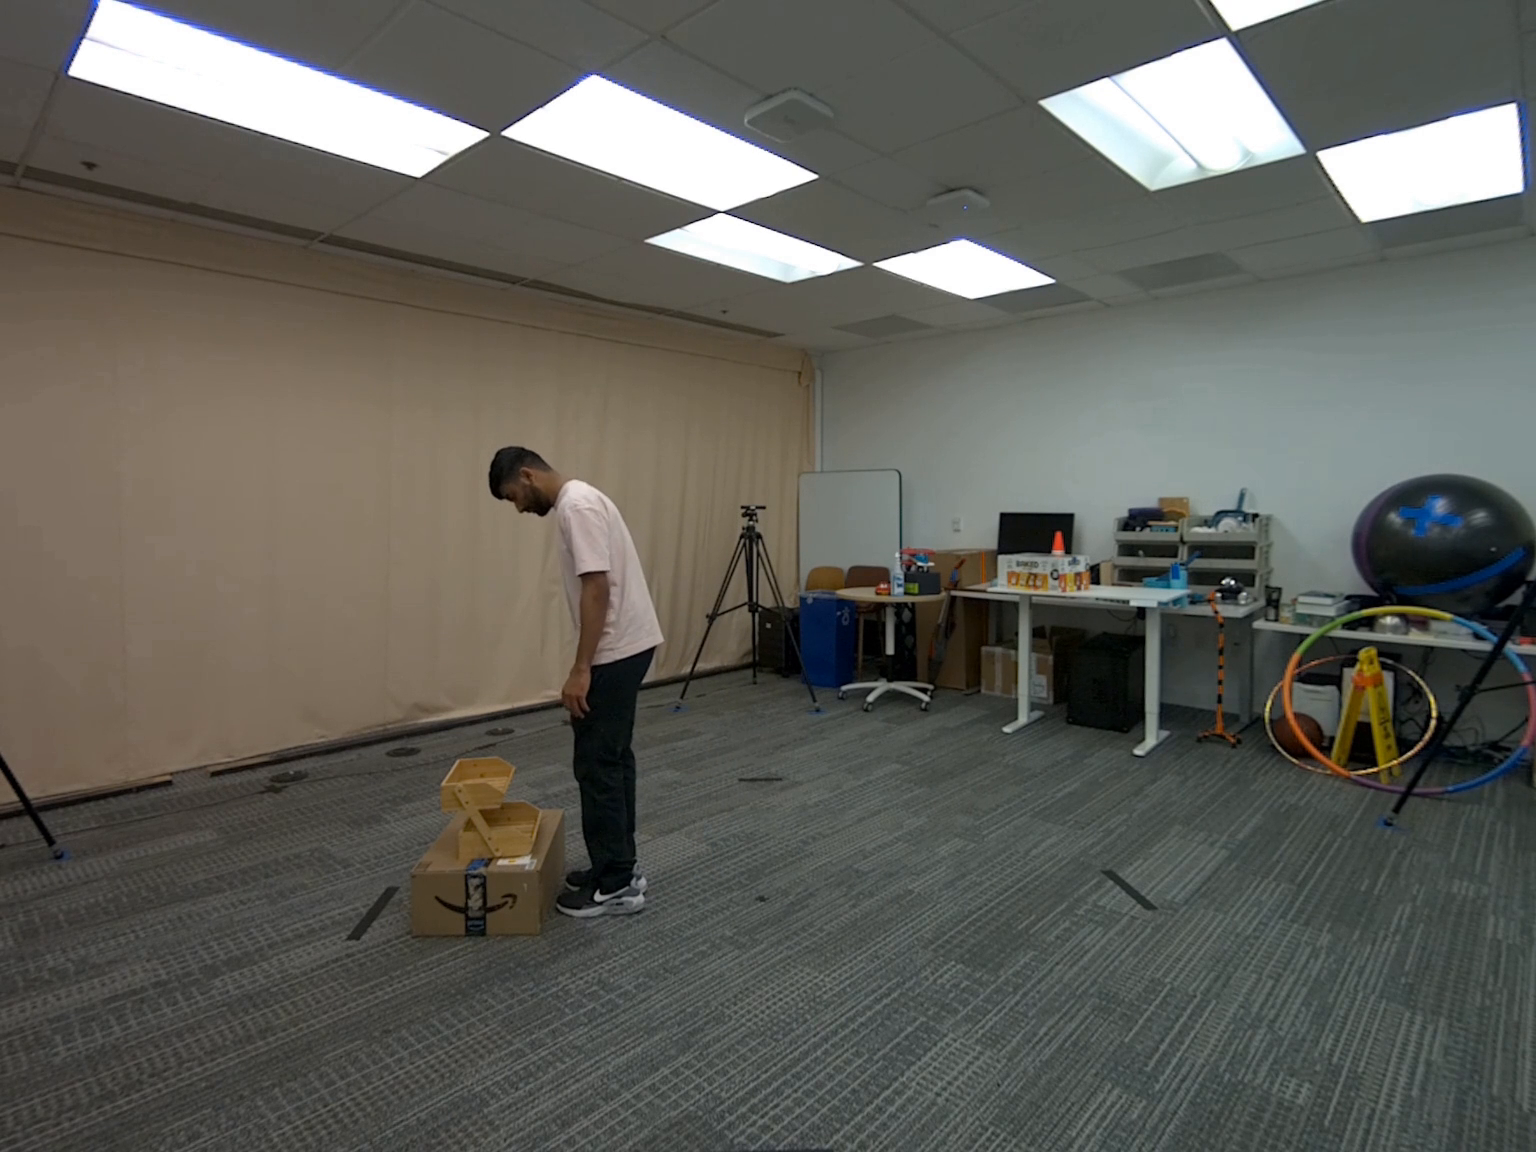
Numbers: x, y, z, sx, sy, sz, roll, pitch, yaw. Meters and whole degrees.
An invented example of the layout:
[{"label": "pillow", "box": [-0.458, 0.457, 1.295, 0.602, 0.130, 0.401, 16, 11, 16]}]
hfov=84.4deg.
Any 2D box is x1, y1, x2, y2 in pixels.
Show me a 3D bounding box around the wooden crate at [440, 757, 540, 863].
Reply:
[{"label": "wooden crate", "box": [-0.970, 0.815, 2.986, 0.299, 0.273, 0.328, -2, 3, -9]}]
